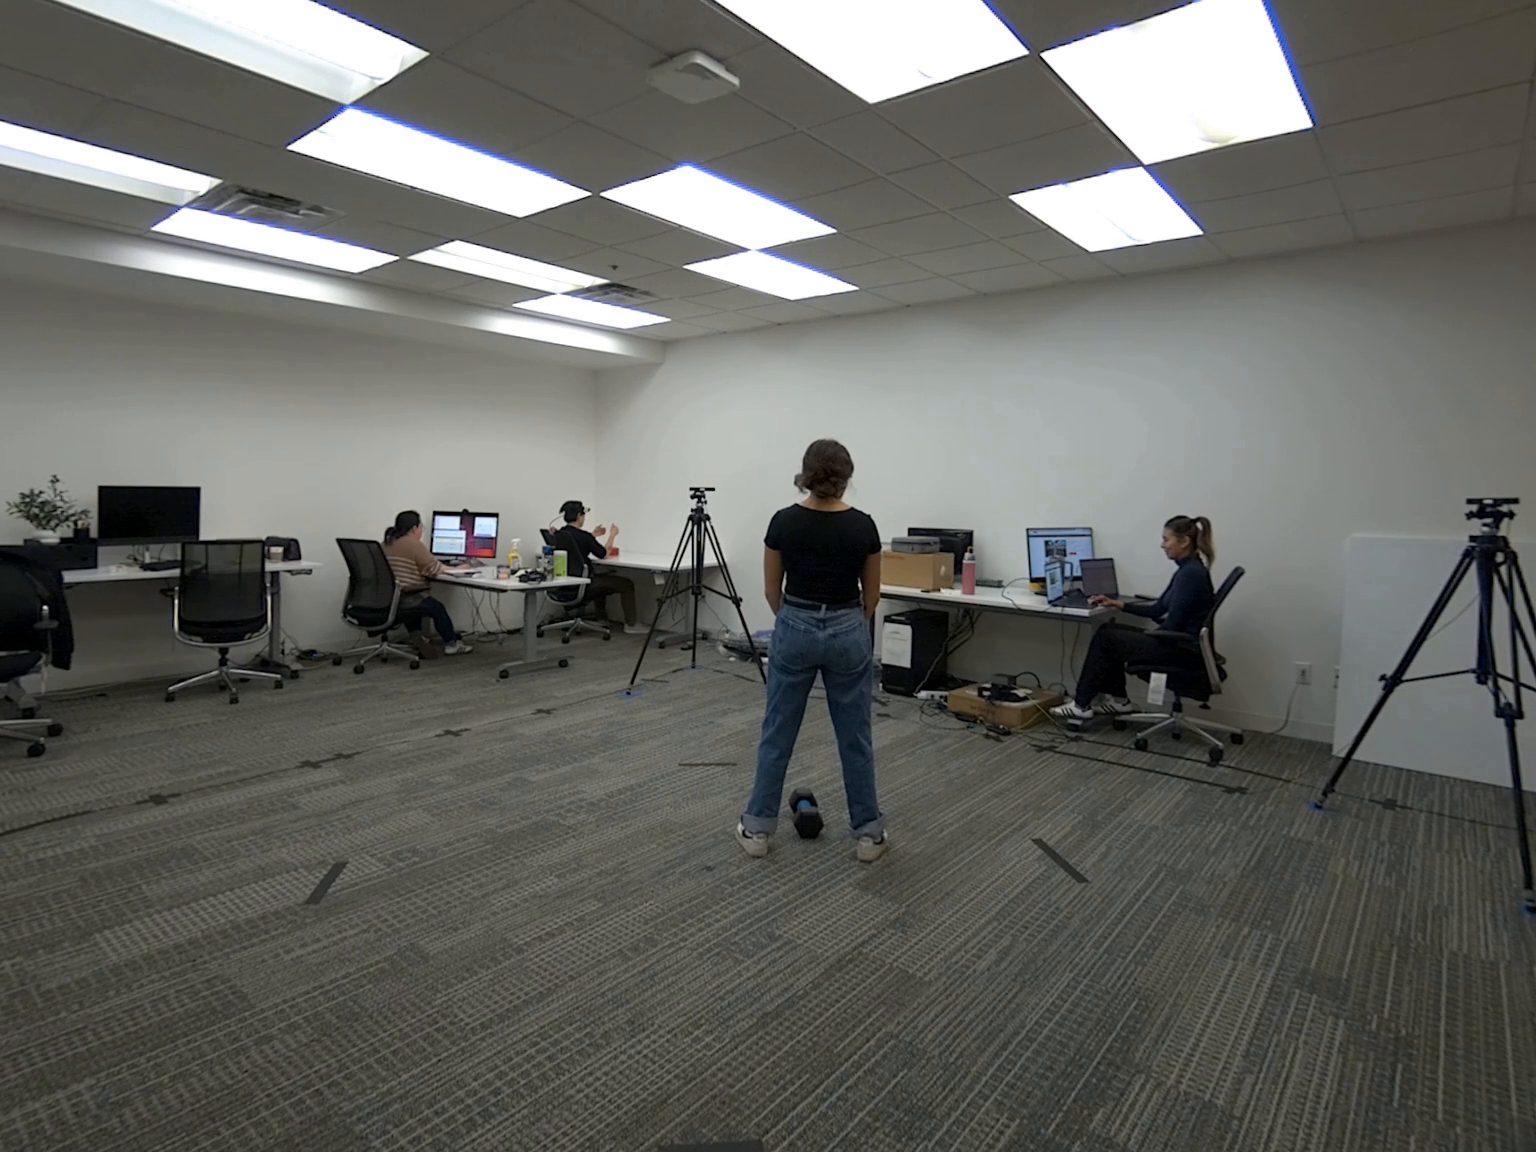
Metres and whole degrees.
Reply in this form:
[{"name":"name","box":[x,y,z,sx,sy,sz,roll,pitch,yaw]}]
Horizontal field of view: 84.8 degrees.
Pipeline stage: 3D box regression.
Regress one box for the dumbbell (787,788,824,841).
[{"name":"dumbbell","box":[0.144,0.979,3.533,0.109,0.122,0.295,-30,6,1]}]
